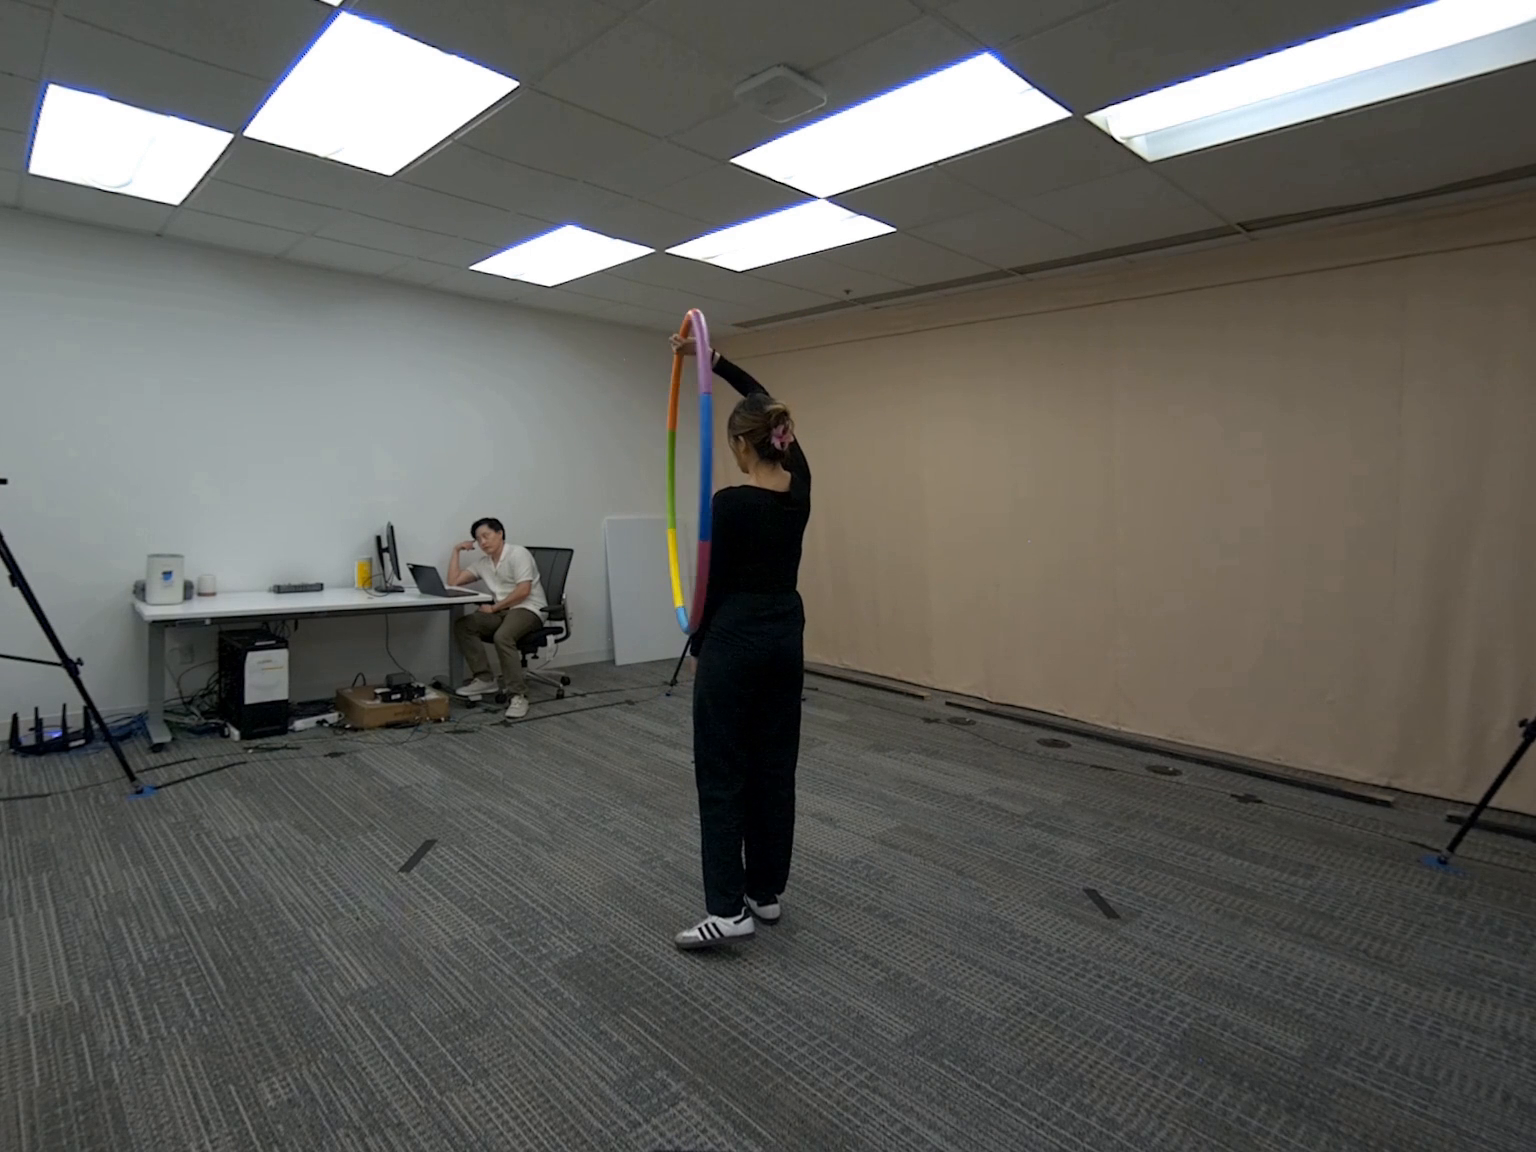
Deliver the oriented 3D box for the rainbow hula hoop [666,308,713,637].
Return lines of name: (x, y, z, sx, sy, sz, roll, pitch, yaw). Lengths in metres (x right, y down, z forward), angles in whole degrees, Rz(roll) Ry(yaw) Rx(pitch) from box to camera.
rainbow hula hoop: (-0.264, -0.313, 2.606, 0.051, 0.983, 0.997, 1, 4, -13)
